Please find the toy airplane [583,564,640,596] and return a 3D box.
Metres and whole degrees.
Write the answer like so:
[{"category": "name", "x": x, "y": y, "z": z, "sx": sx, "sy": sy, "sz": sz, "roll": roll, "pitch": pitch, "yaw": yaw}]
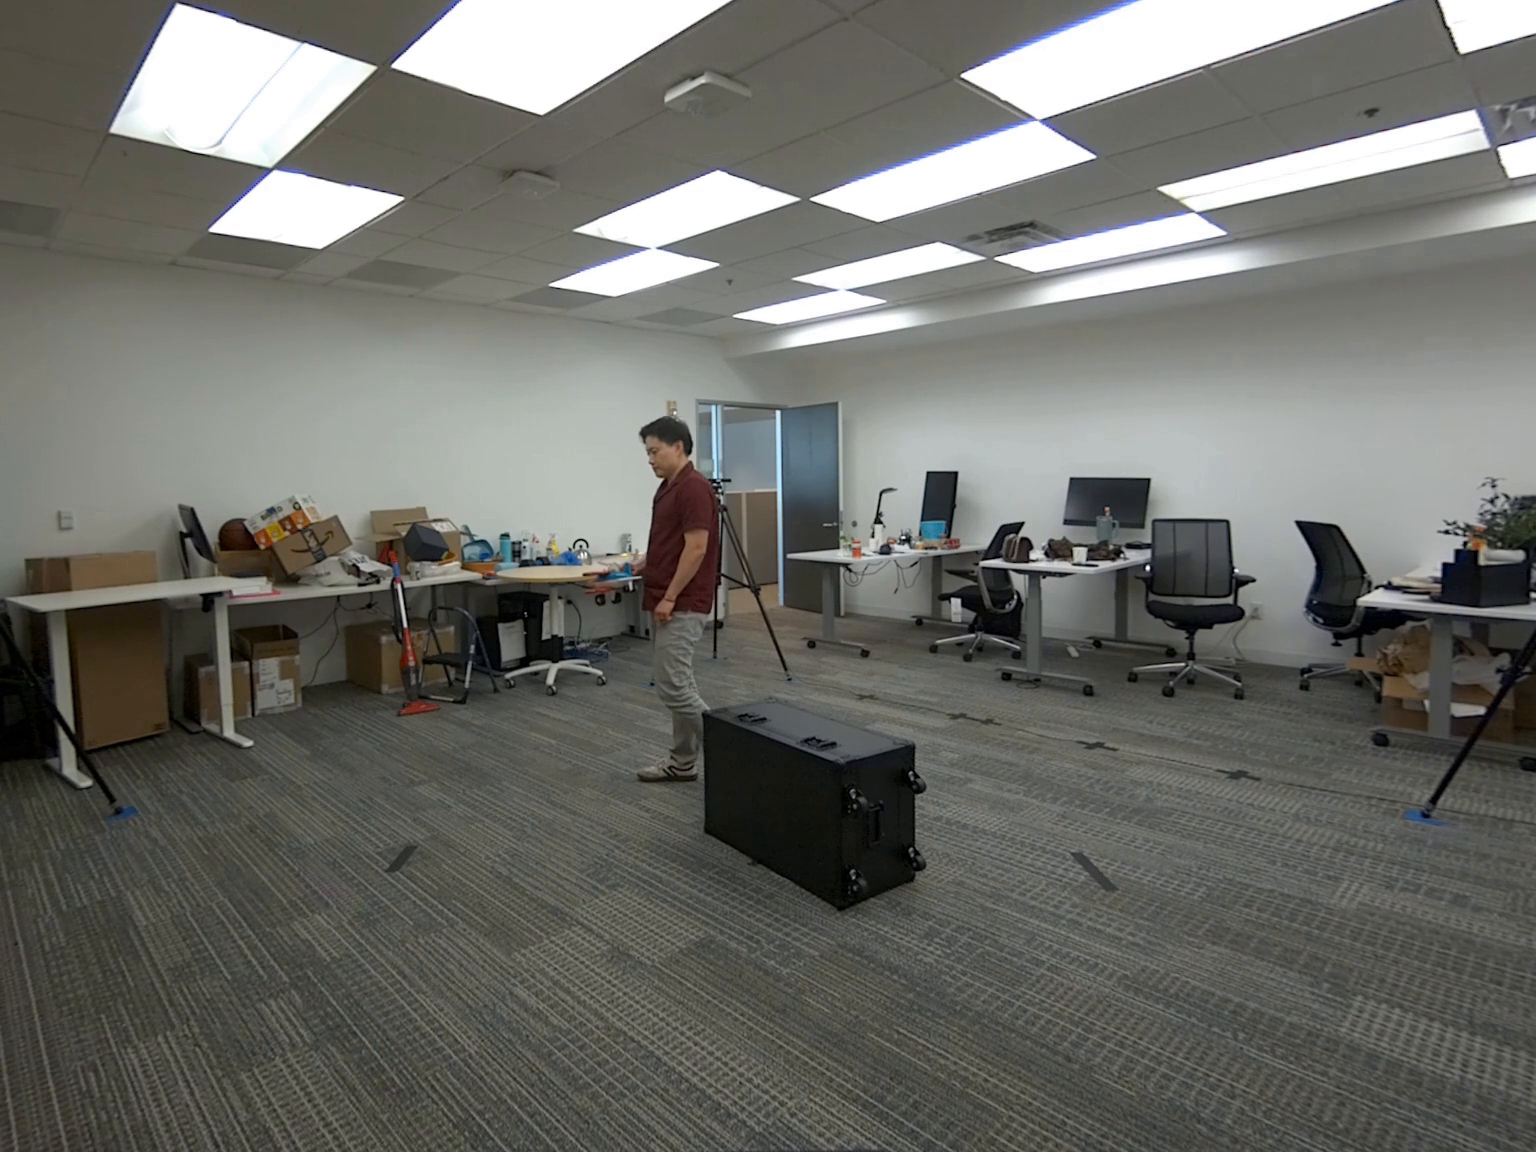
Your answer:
[{"category": "toy airplane", "x": -0.660, "y": 0.028, "z": 3.799, "sx": 0.262, "sy": 0.159, "sz": 0.245, "roll": -20, "pitch": -11, "yaw": 19}]
